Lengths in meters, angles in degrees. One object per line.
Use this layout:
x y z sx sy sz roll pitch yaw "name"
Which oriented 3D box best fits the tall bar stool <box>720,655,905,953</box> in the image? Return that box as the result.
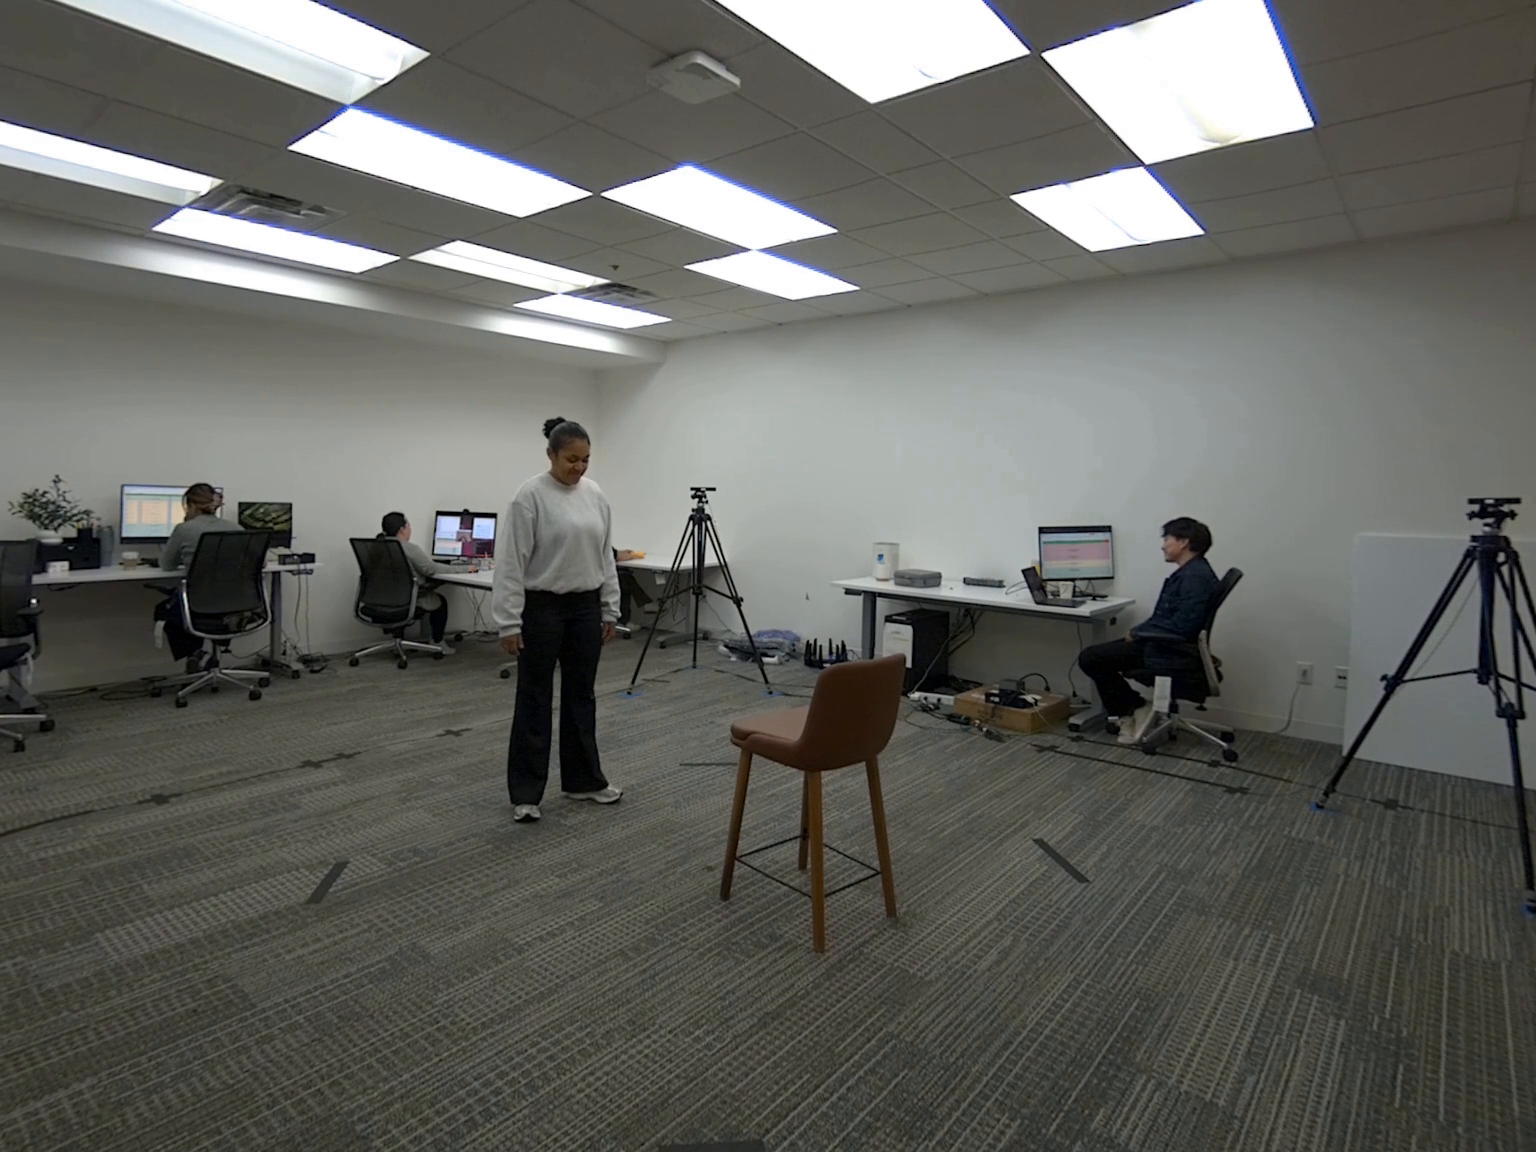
0.147 0.668 2.815 0.442 0.886 0.484 -1 6 -42 "tall bar stool"
